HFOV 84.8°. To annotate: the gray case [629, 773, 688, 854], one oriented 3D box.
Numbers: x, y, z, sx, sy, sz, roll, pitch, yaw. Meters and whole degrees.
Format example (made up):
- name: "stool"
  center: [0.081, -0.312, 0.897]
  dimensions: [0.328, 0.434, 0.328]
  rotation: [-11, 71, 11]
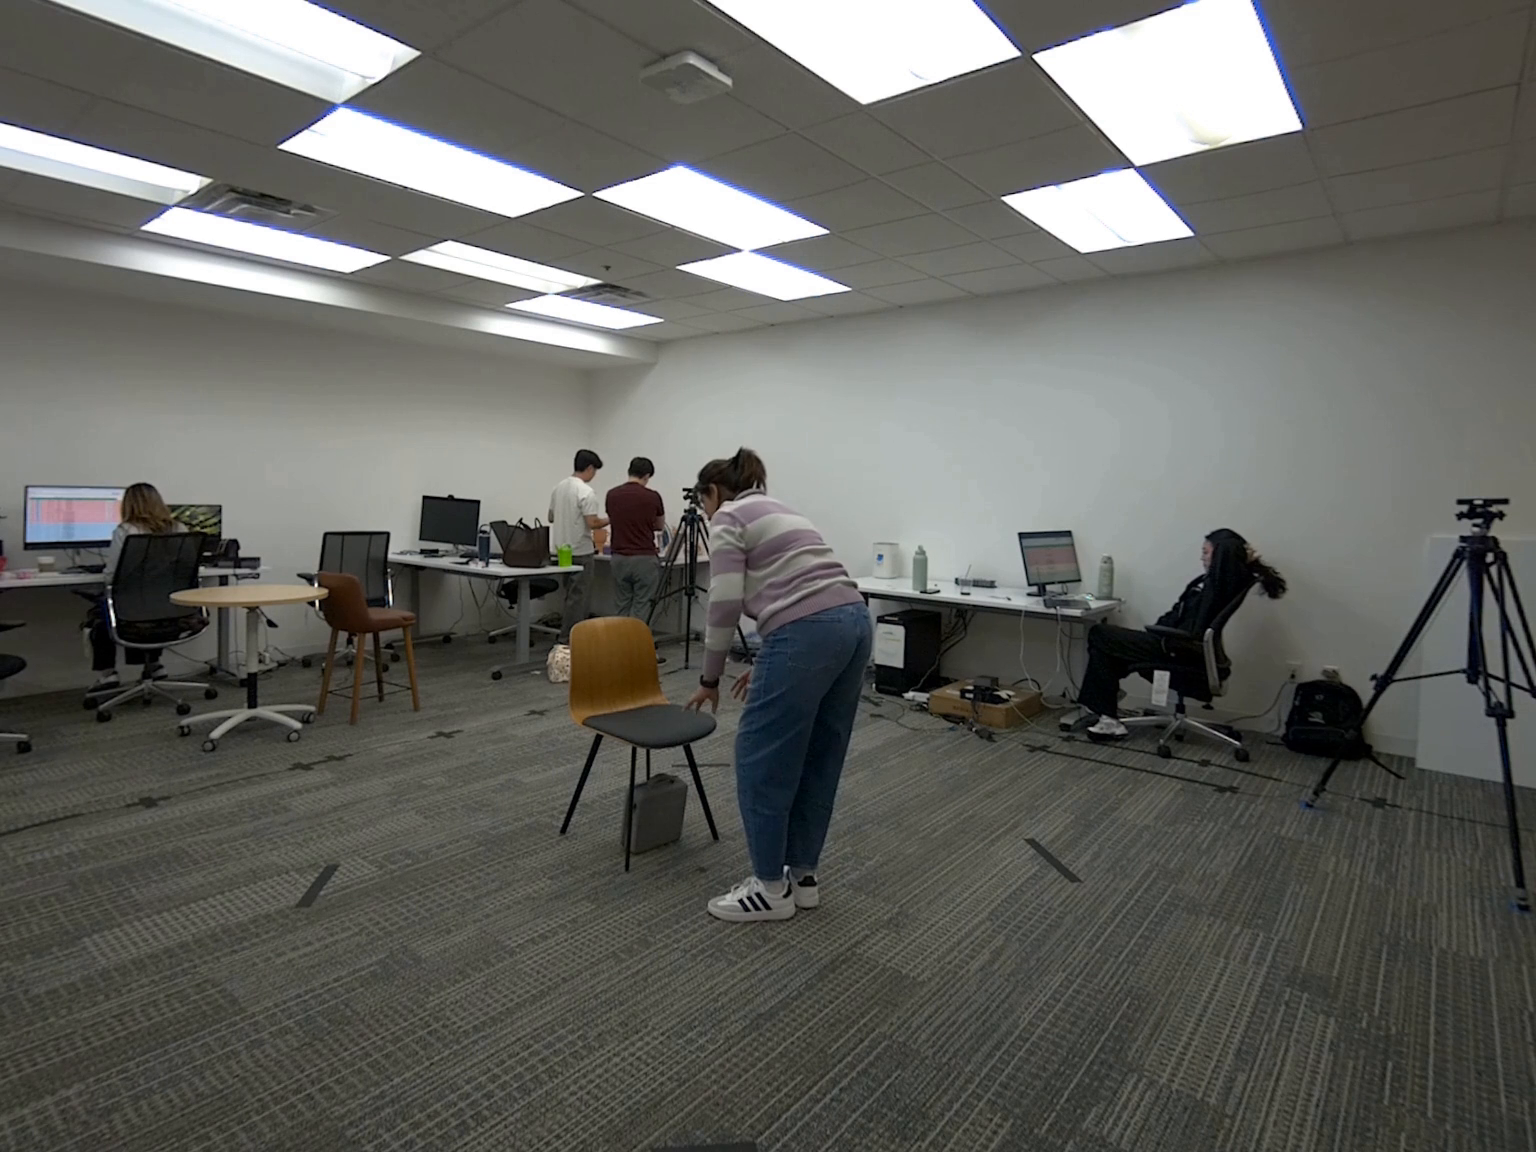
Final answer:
- name: "gray case"
  center: [-0.448, 0.919, 3.309]
  dimensions: [0.249, 0.258, 0.108]
  rotation: [-4, 16, -45]
